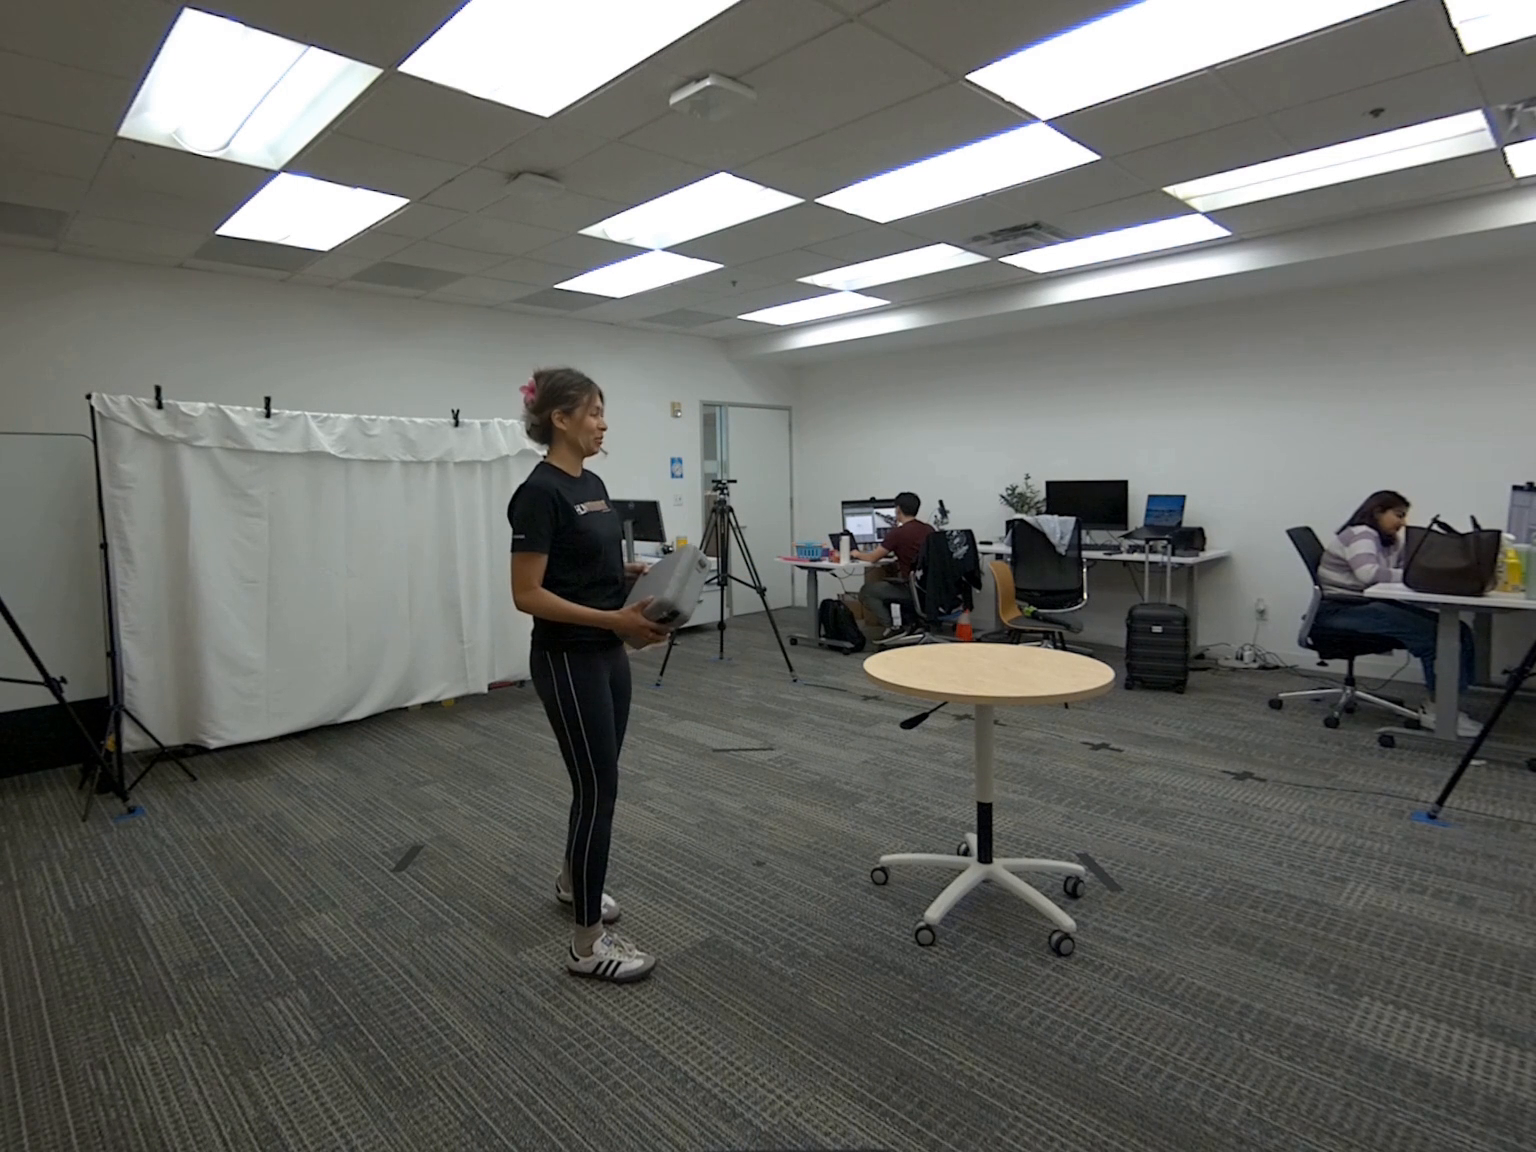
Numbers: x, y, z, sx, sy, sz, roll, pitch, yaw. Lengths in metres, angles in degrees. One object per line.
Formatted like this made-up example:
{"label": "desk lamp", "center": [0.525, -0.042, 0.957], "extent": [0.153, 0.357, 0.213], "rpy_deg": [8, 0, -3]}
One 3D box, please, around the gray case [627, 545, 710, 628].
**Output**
{"label": "gray case", "center": [-0.301, 0.057, 2.393], "extent": [0.259, 0.102, 0.264], "rpy_deg": [-32, 25, 36]}
